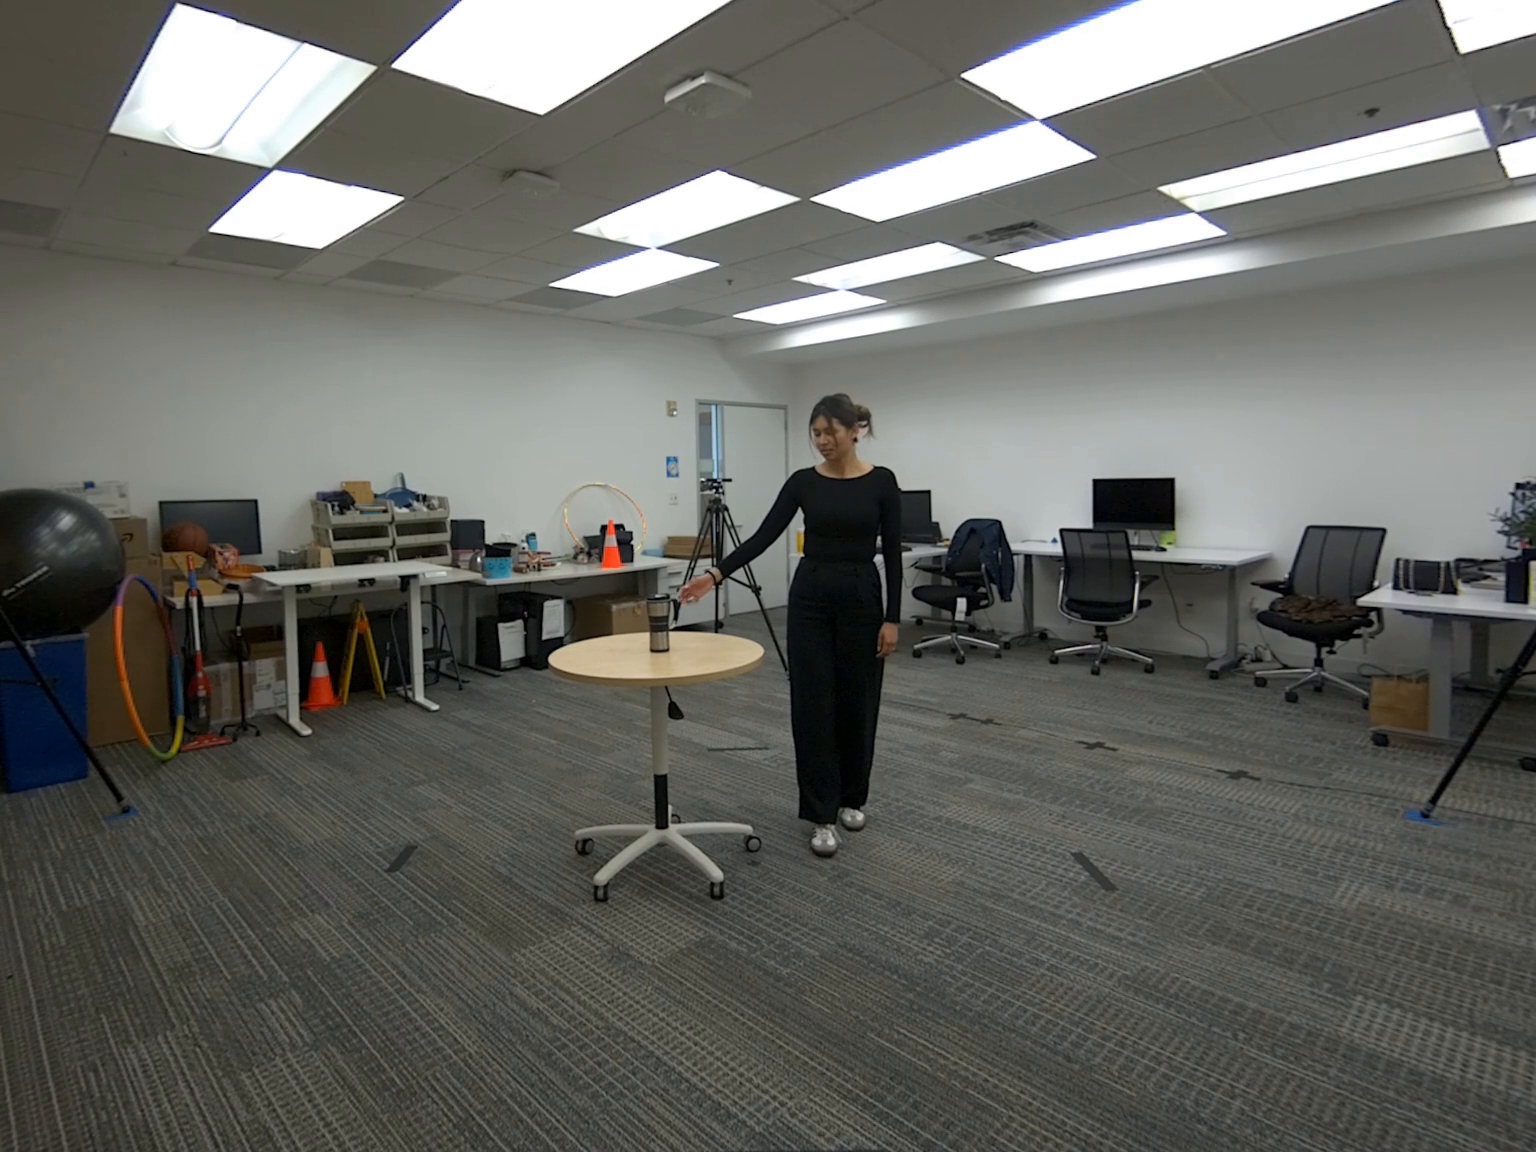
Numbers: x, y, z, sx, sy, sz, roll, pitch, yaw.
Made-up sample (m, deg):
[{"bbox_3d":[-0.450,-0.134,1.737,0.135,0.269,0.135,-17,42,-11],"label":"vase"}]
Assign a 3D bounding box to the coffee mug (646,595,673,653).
[{"bbox_3d":[-0.377,0.173,3.059,0.125,0.203,0.085,-3,-2,39],"label":"coffee mug"}]
